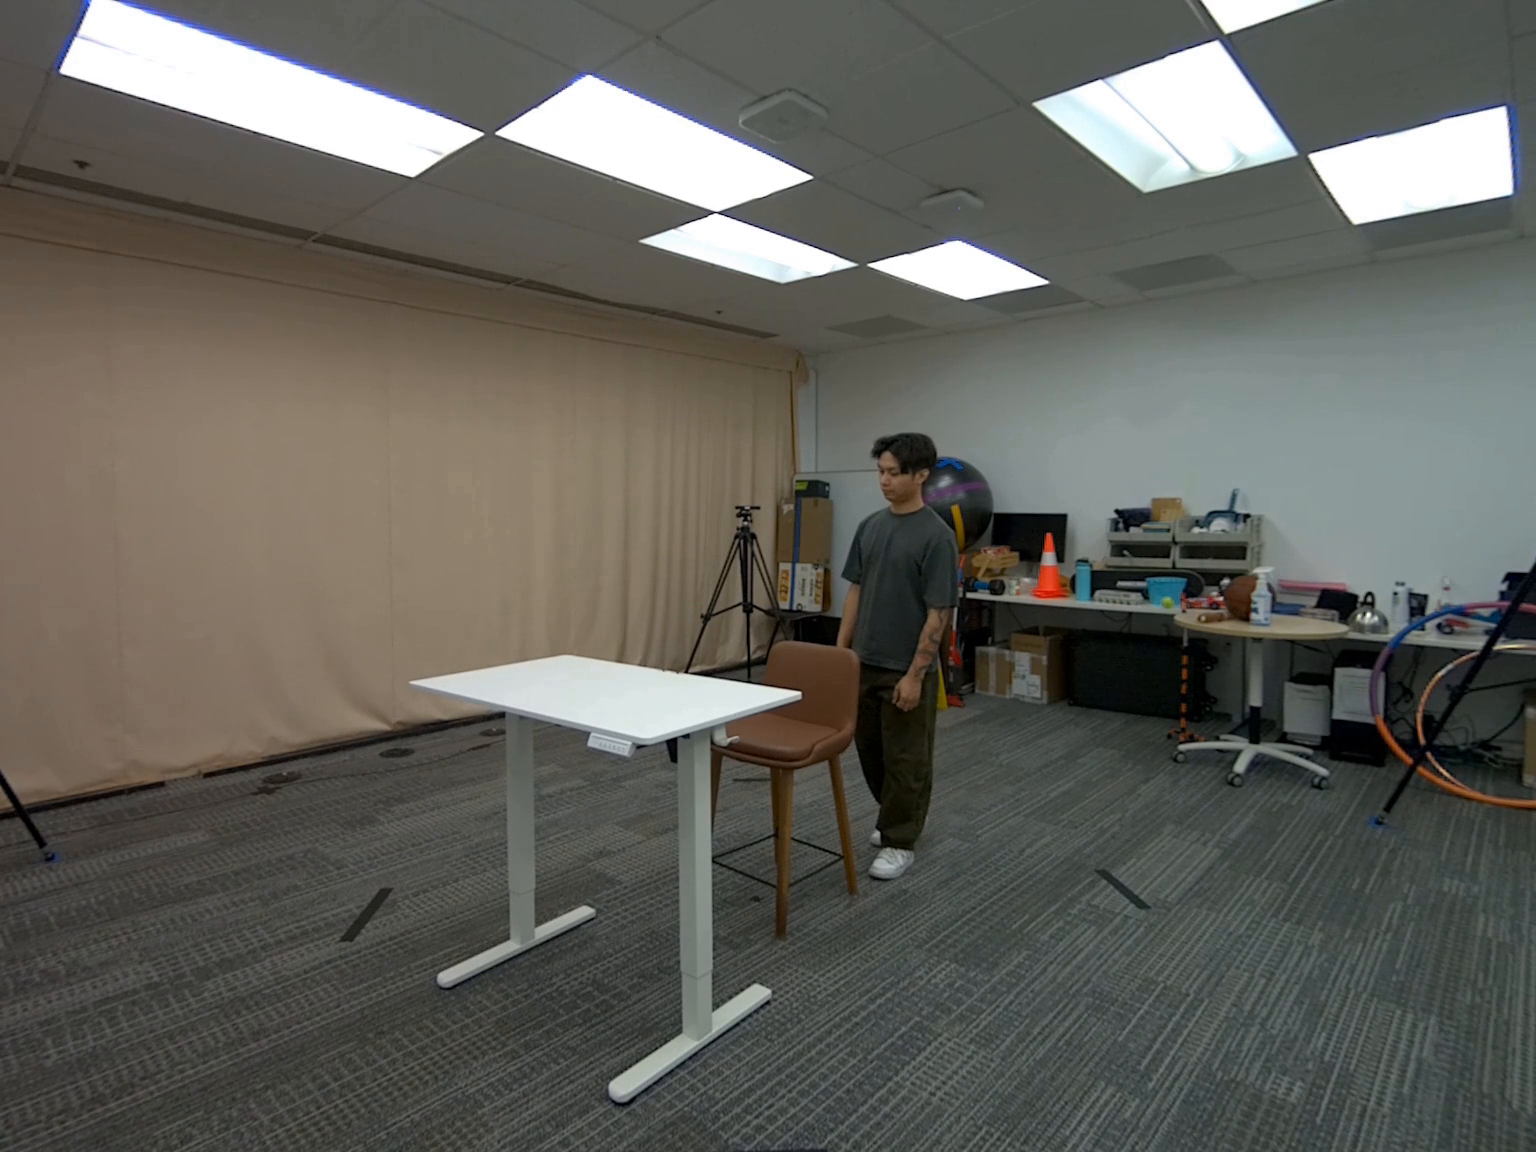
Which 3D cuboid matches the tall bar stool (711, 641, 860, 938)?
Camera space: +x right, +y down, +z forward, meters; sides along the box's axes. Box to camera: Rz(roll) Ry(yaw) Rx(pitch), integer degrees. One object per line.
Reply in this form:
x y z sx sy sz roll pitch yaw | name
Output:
0.048 0.708 2.978 0.472 0.888 0.453 3 3 43 | tall bar stool
